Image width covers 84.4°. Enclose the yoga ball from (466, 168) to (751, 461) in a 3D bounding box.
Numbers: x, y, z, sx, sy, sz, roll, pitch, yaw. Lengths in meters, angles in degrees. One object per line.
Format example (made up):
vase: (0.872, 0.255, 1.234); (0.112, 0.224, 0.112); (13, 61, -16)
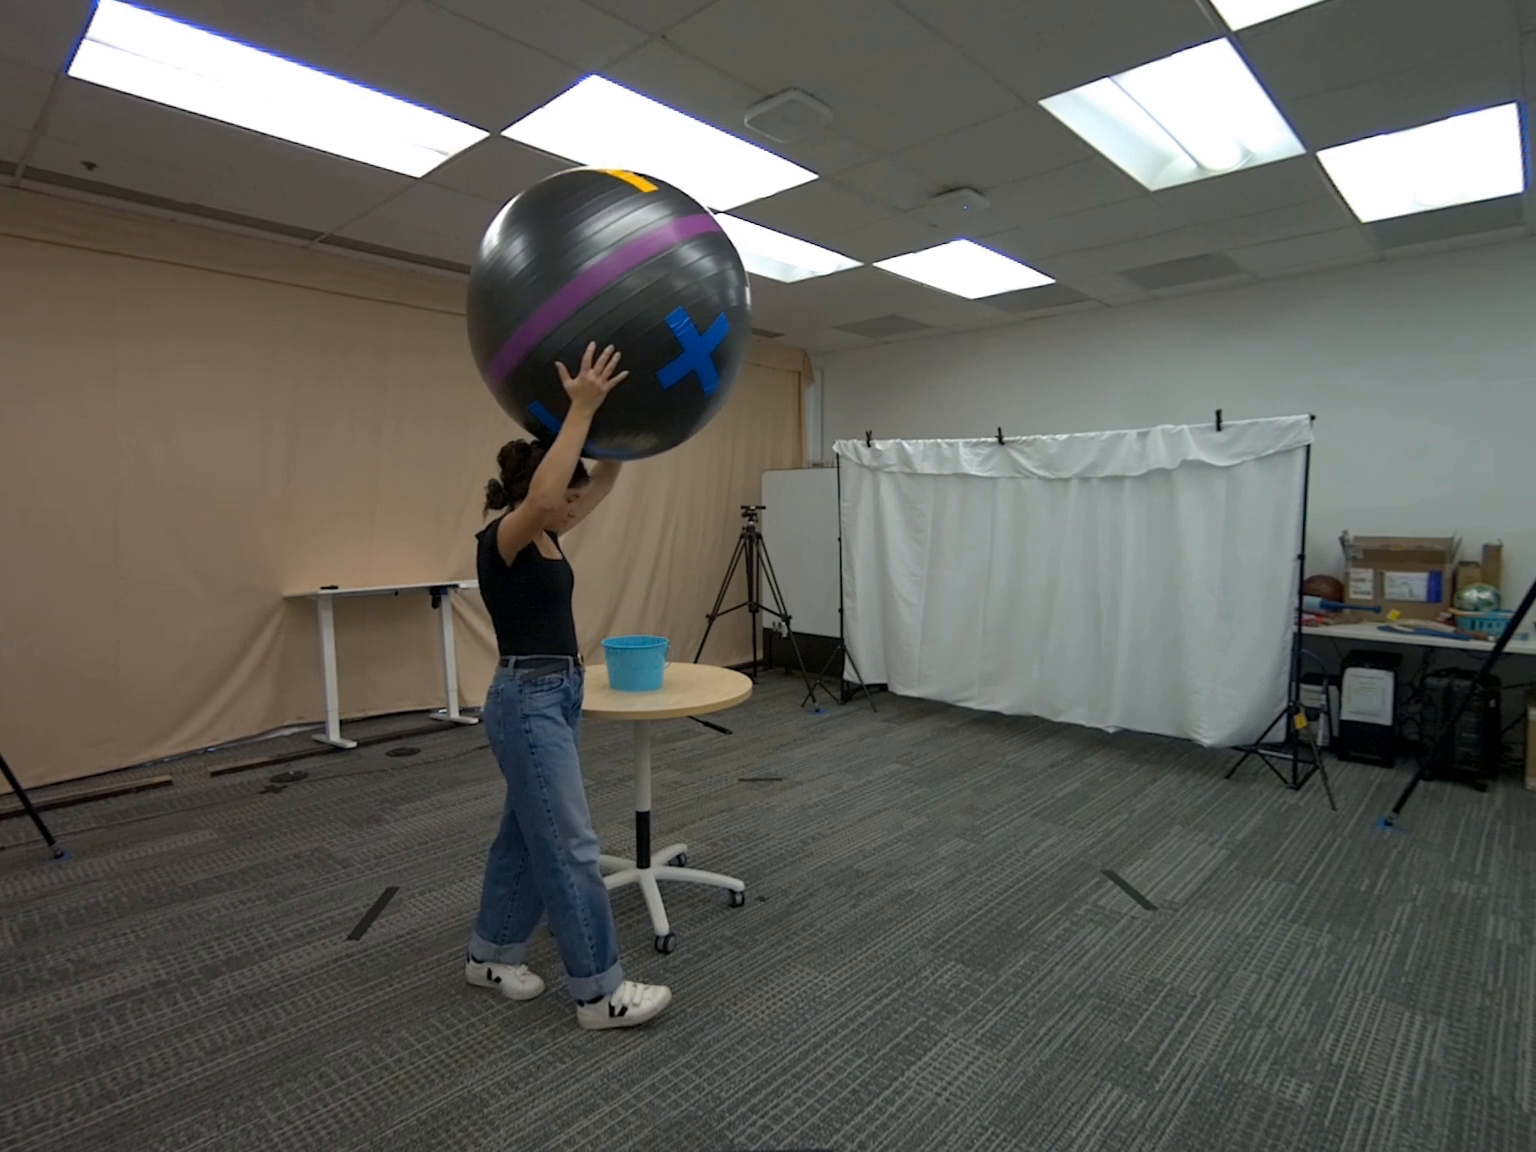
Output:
yoga ball: (-0.422, -0.688, 2.262); (0.757, 0.756, 0.760); (0, 4, -2)
